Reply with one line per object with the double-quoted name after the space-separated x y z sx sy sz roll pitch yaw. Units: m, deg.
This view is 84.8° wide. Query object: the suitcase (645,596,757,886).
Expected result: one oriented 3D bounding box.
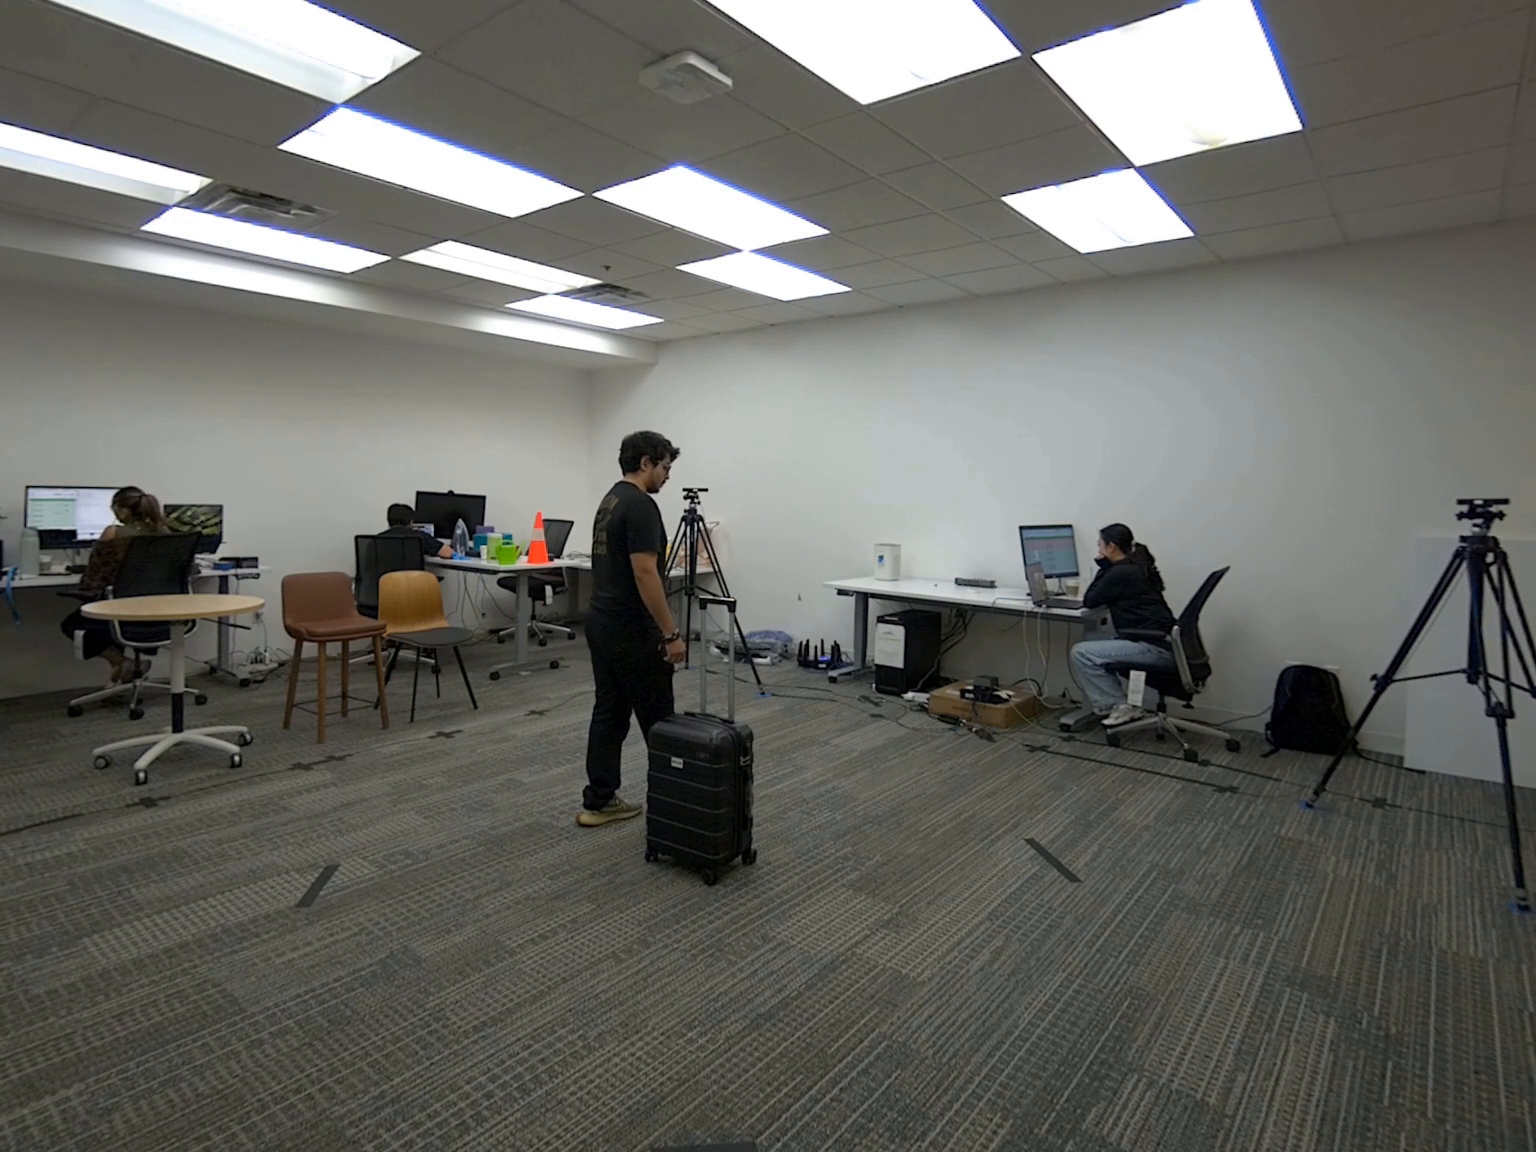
-0.252 0.590 3.125 0.396 0.975 0.250 3 5 34 "suitcase"
